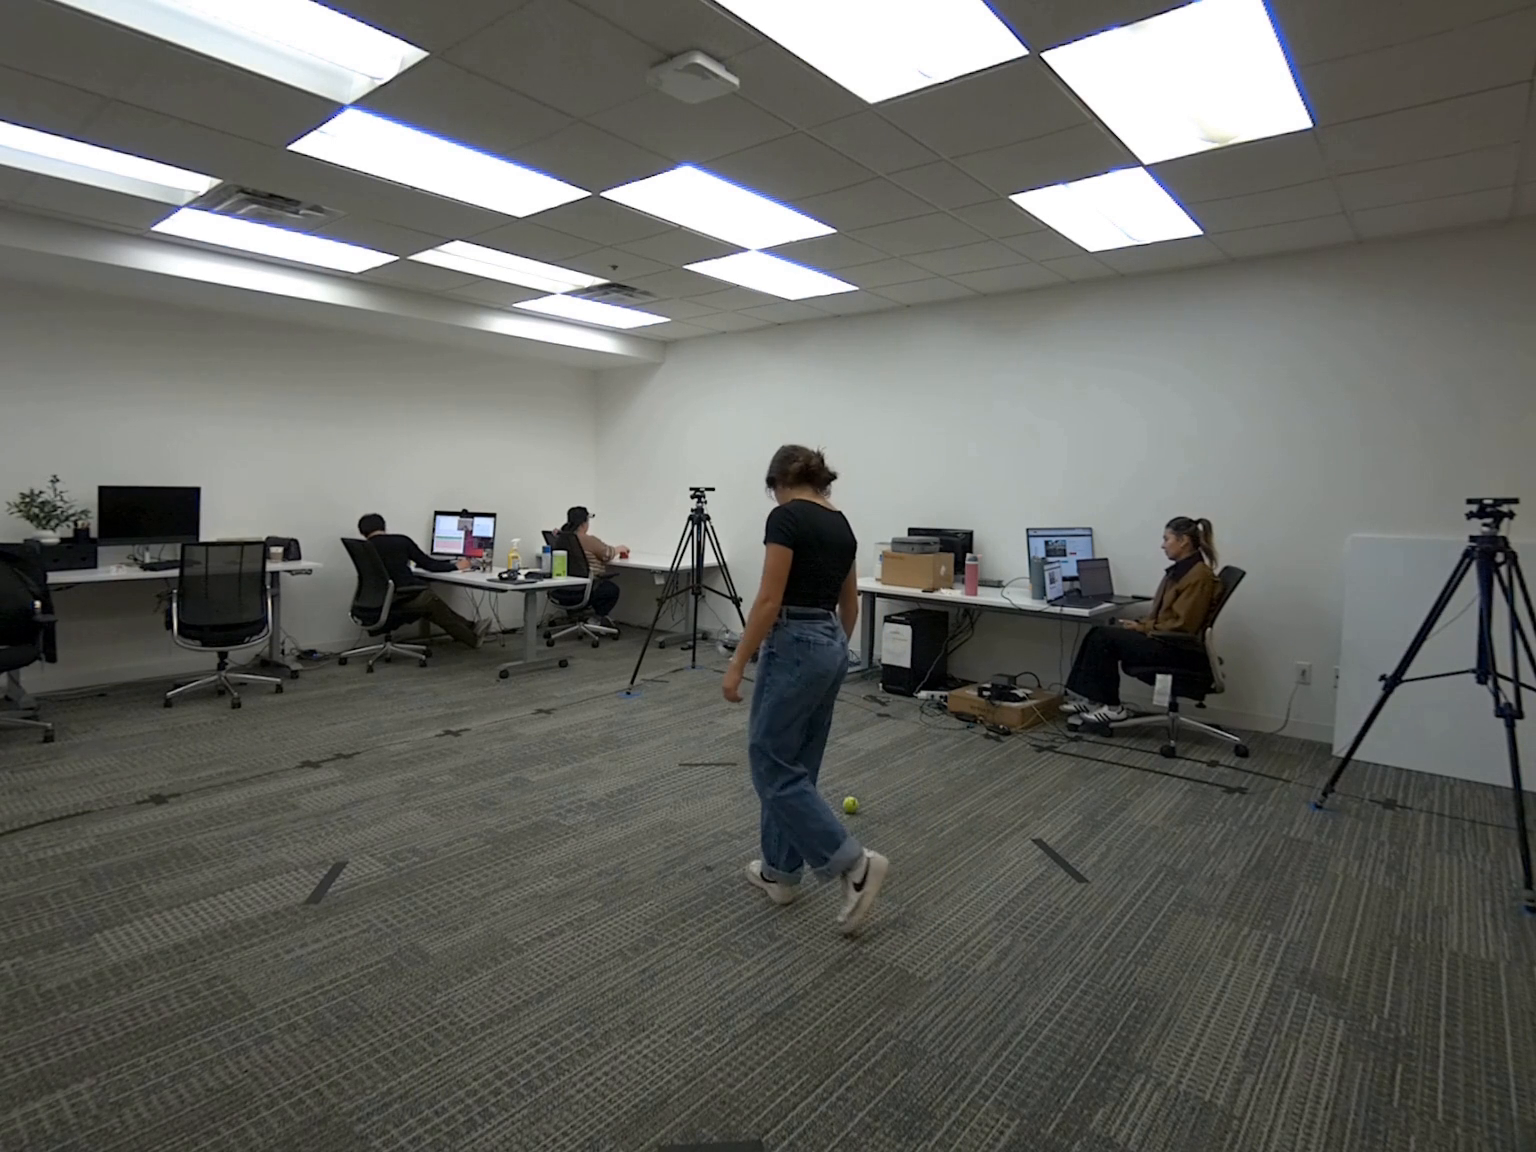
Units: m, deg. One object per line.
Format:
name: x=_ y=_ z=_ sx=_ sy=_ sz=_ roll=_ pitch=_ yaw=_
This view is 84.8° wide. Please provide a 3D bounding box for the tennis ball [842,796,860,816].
tennis ball: x=0.352 y=0.982 z=3.682 sx=0.066 sy=0.066 sz=0.067 roll=1 pitch=4 yaw=-2
